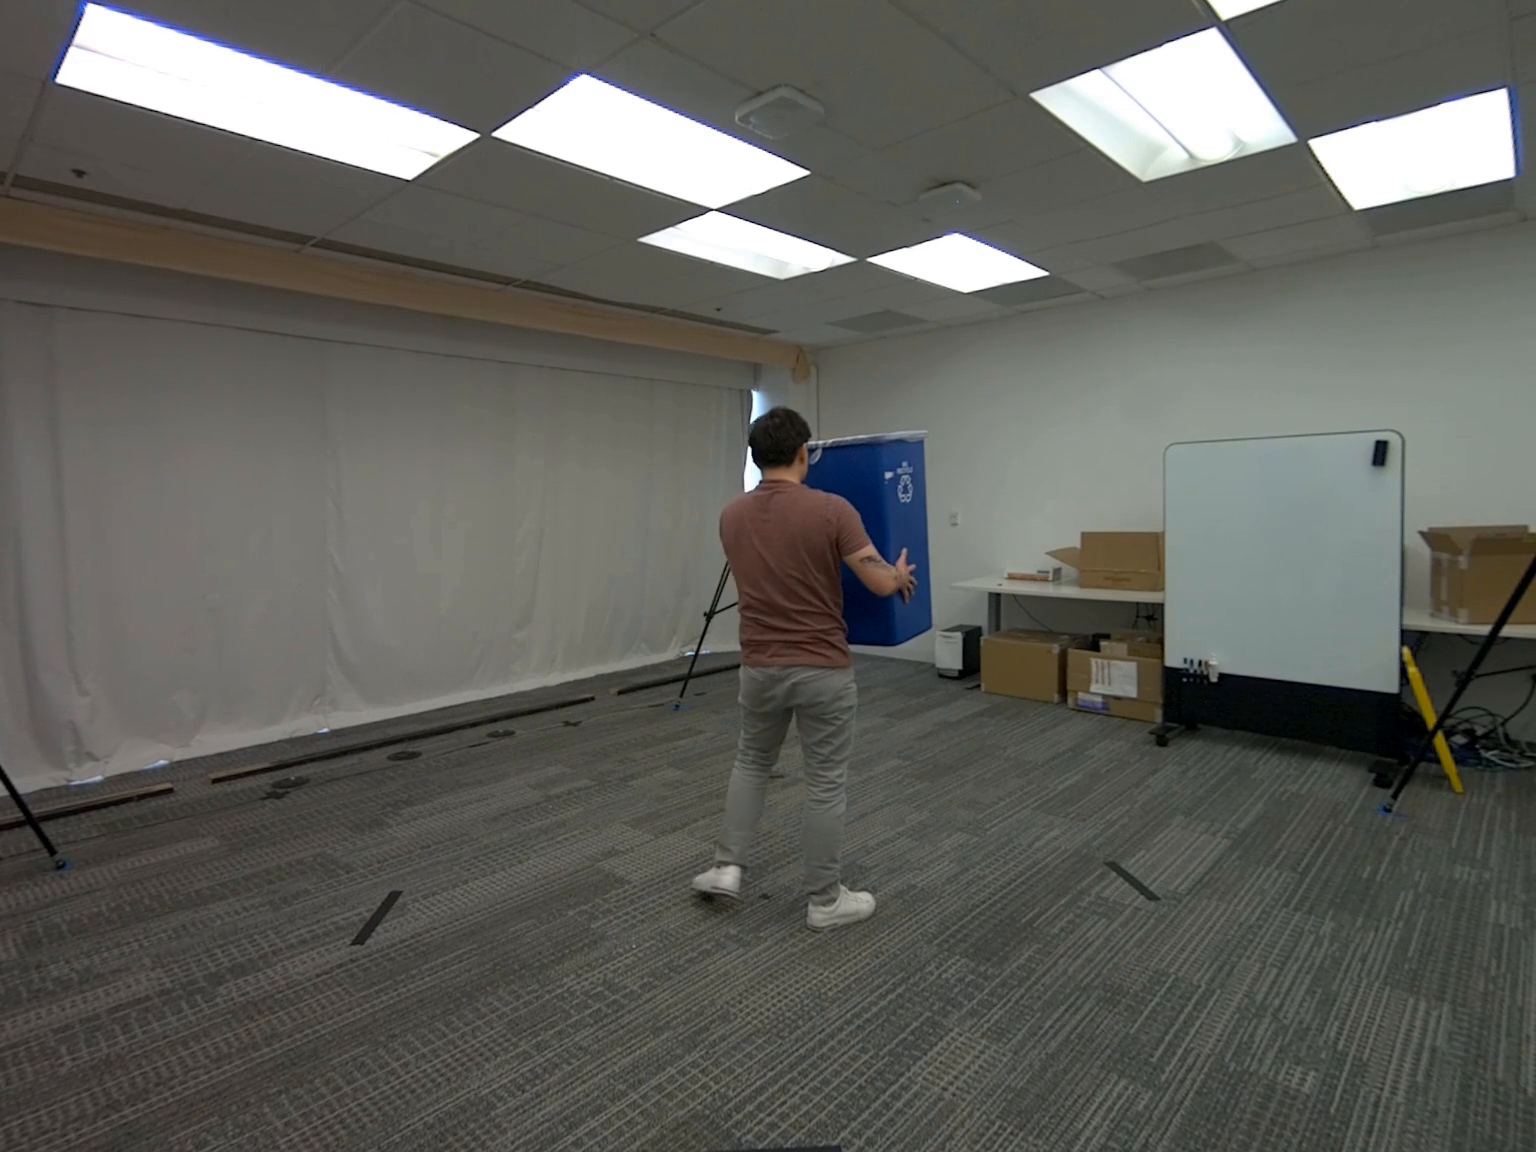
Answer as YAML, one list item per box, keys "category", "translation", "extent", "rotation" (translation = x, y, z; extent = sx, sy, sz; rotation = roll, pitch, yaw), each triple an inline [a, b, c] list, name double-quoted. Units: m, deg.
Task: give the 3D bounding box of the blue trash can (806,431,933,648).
- category: "blue trash can"
  translation: [0.361, -0.137, 3.010]
  extent: [0.390, 0.710, 0.364]
  rotation: [-1, 8, 37]
